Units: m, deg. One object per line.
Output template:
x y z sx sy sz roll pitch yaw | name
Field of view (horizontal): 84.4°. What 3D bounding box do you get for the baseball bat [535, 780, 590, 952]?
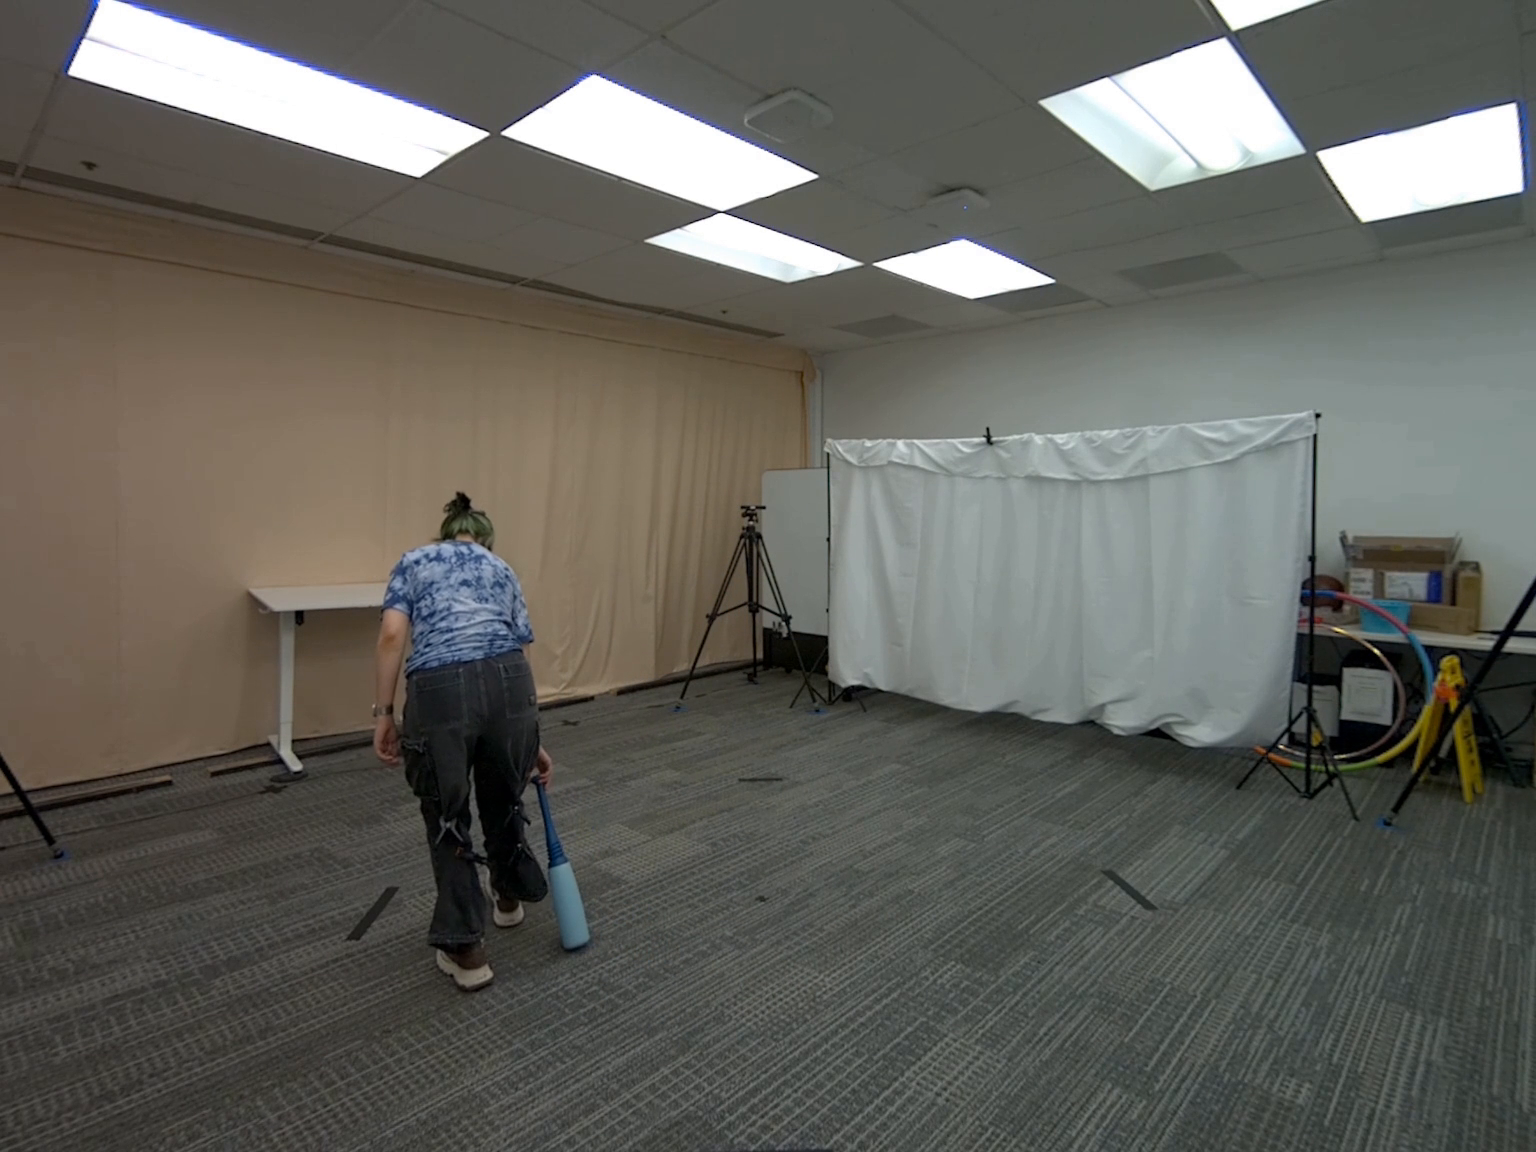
-0.684 0.920 2.708 0.089 0.550 0.088 -16 -14 -6 | baseball bat
